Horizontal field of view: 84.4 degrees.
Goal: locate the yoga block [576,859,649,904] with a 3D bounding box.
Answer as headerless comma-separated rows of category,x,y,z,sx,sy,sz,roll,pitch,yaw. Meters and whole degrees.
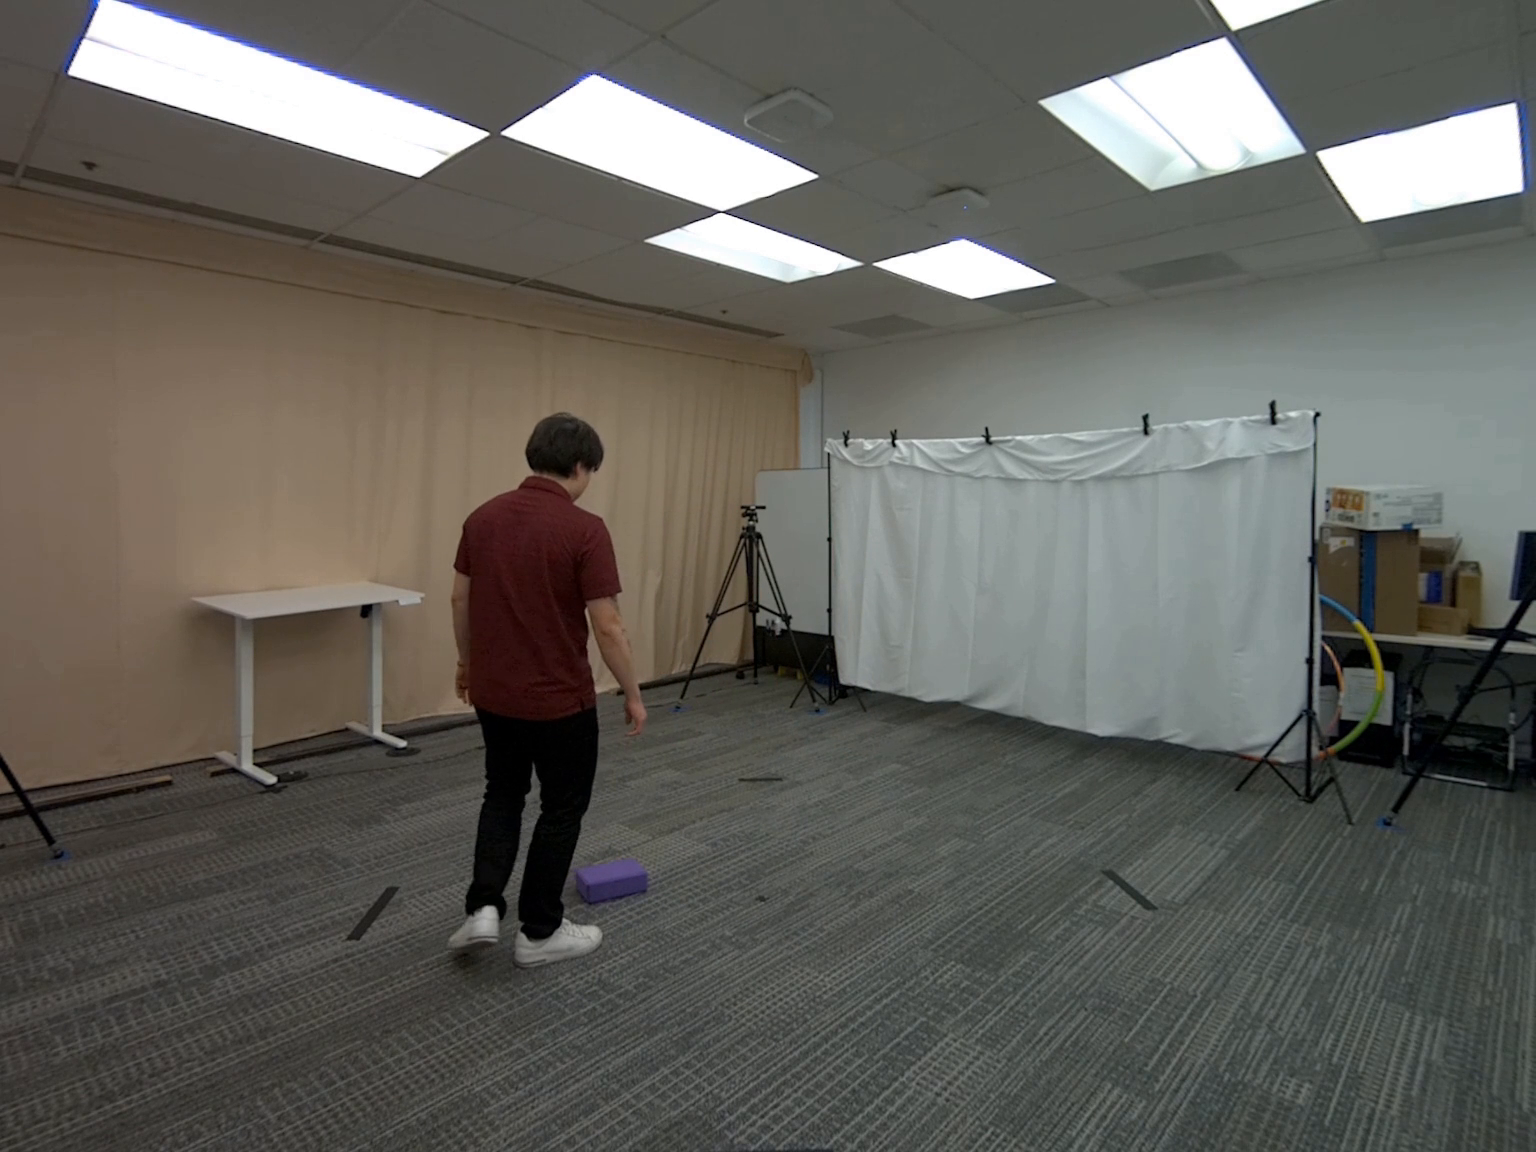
yoga block,-0.568,1.101,3.051,0.223,0.076,0.153,-2,5,-28
